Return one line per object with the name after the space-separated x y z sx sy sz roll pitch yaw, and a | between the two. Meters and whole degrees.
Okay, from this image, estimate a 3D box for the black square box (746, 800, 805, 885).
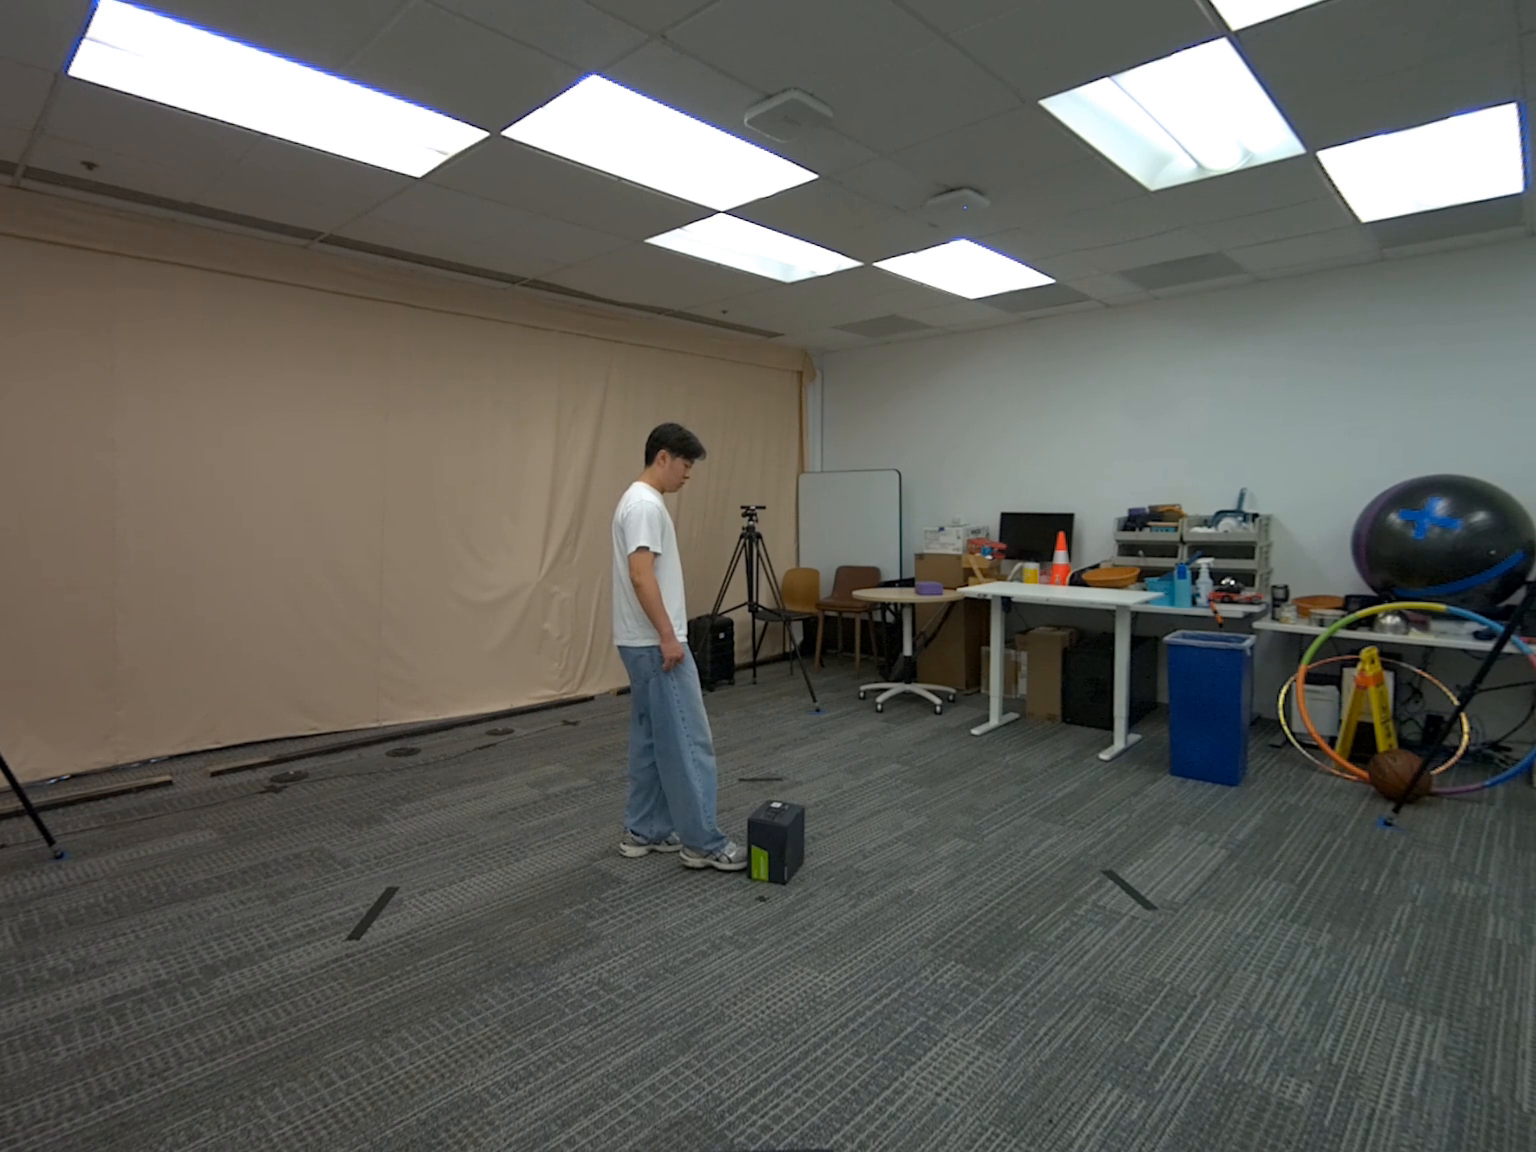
0.035 1.005 3.196 0.159 0.227 0.212 3 5 22 | black square box
